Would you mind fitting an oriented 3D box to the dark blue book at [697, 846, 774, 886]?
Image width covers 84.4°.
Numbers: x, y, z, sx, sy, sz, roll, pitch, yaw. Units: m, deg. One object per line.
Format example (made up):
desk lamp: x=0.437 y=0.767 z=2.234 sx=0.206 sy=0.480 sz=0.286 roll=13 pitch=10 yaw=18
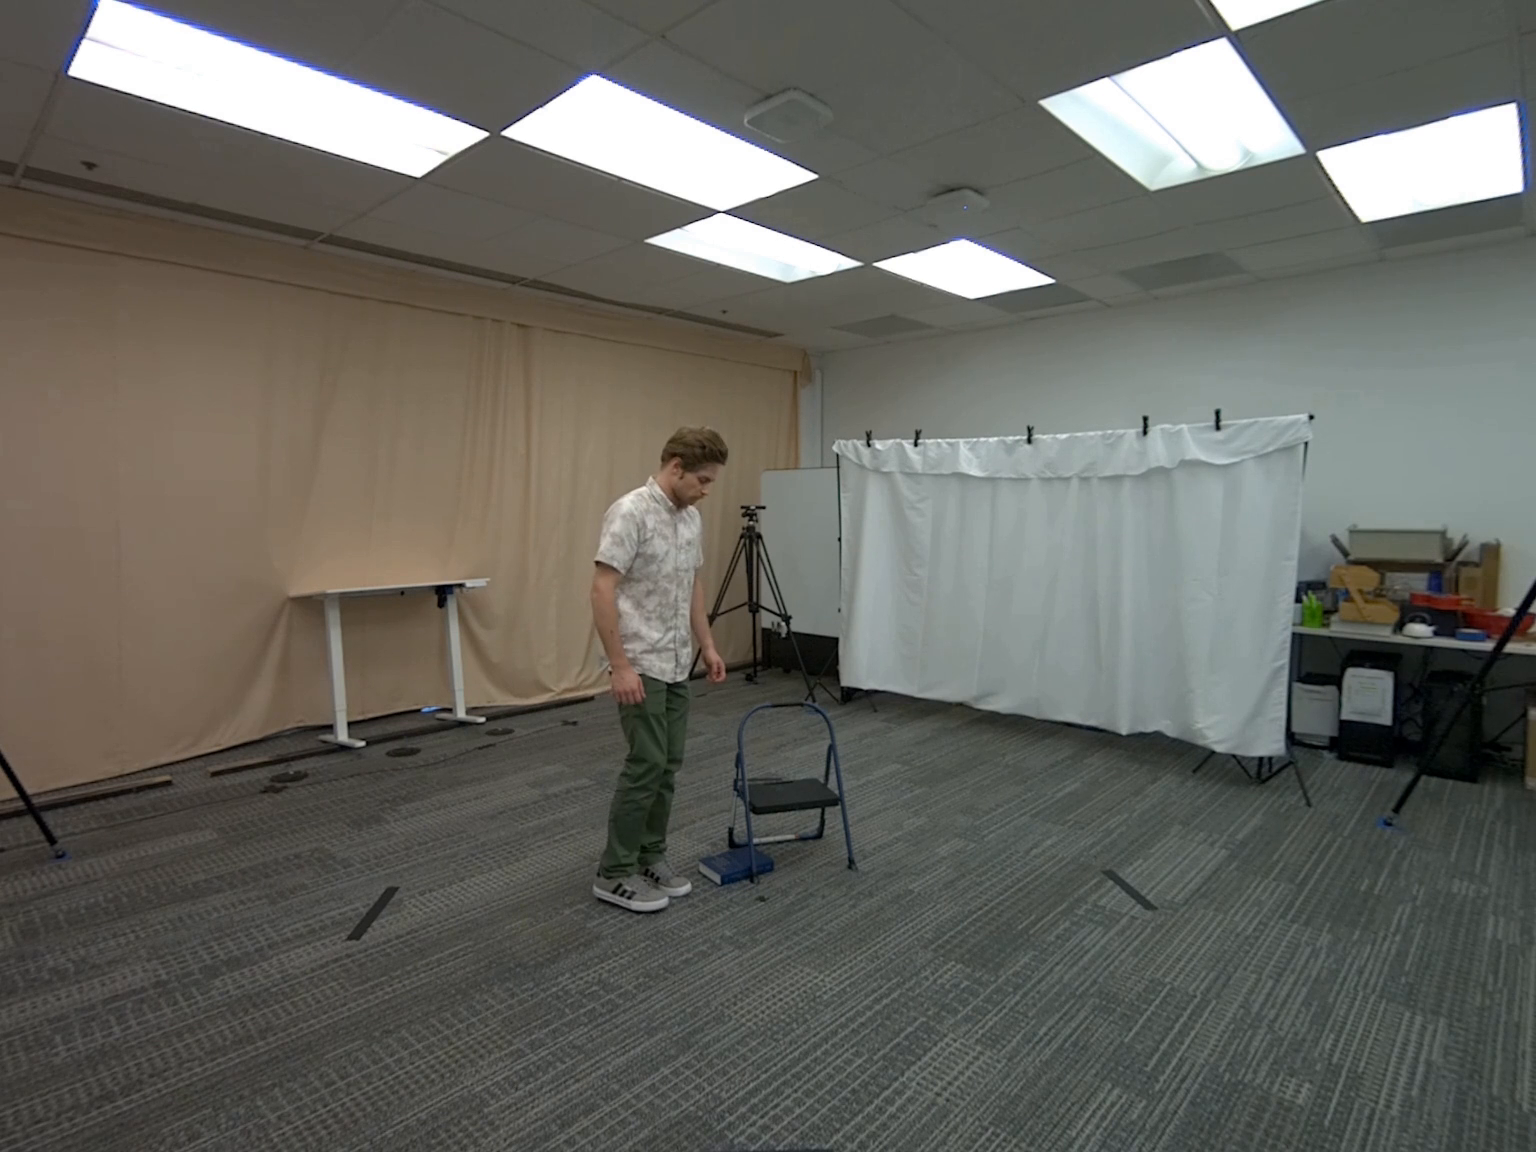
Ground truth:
dark blue book: x=-0.124 y=1.108 z=3.205 sx=0.238 sy=0.045 sz=0.168 roll=-5 pitch=6 yaw=-34
